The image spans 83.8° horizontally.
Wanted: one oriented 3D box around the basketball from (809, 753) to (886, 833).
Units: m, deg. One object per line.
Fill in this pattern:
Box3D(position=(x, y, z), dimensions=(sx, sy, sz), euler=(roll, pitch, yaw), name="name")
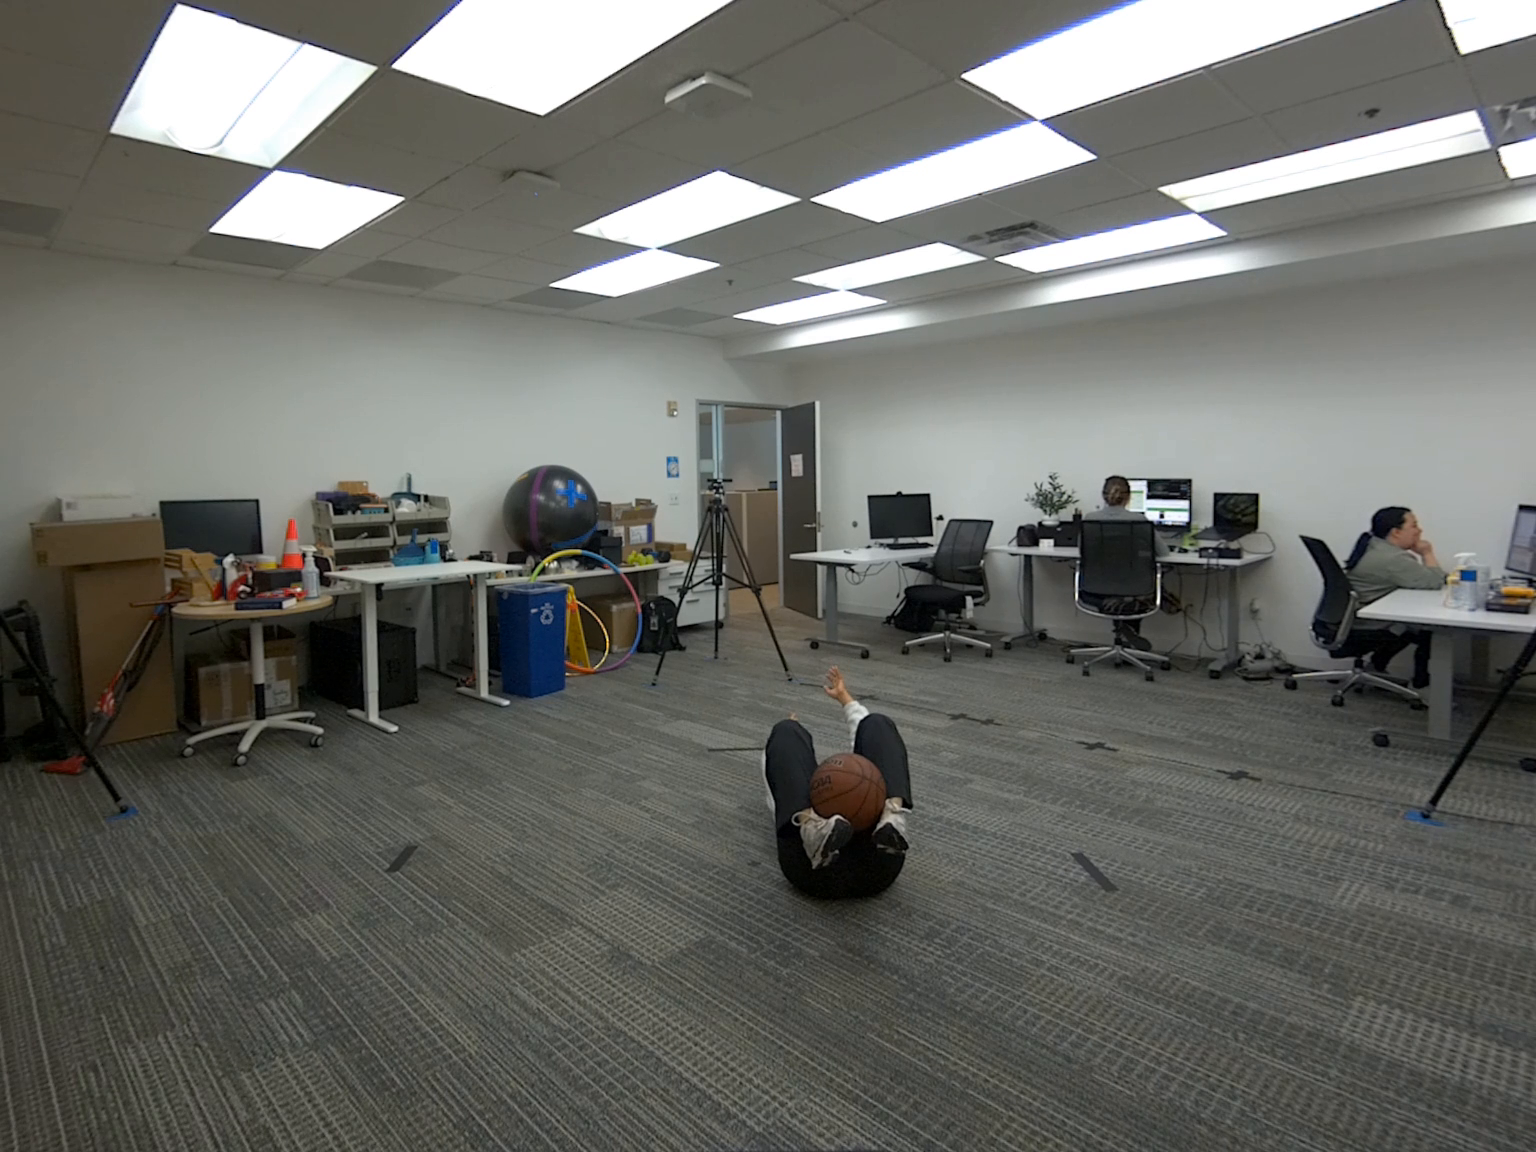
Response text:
Box3D(position=(0.263, 0.677, 2.680), dimensions=(0.236, 0.235, 0.237), euler=(-1, 5, -2), name="basketball")
